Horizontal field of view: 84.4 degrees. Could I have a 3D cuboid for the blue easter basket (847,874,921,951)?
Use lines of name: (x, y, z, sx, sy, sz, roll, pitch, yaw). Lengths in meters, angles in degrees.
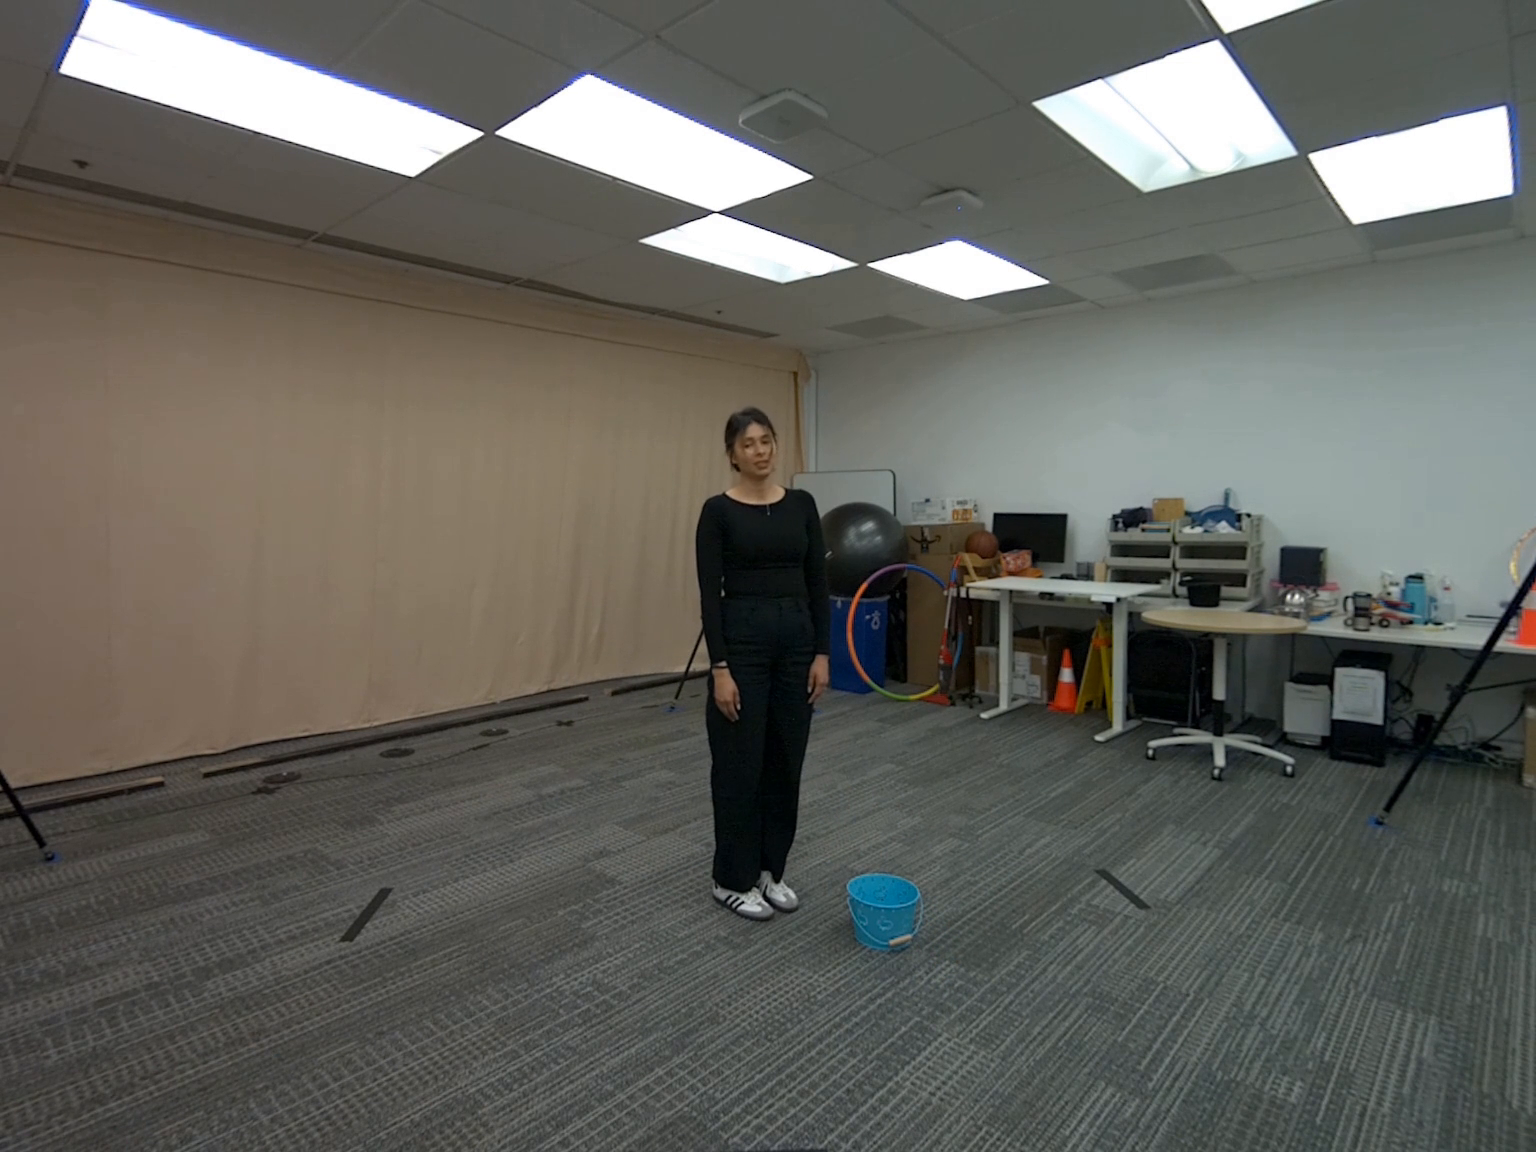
blue easter basket: (0.375, 1.090, 2.714, 0.243, 0.155, 0.244, 0, 4, -2)
